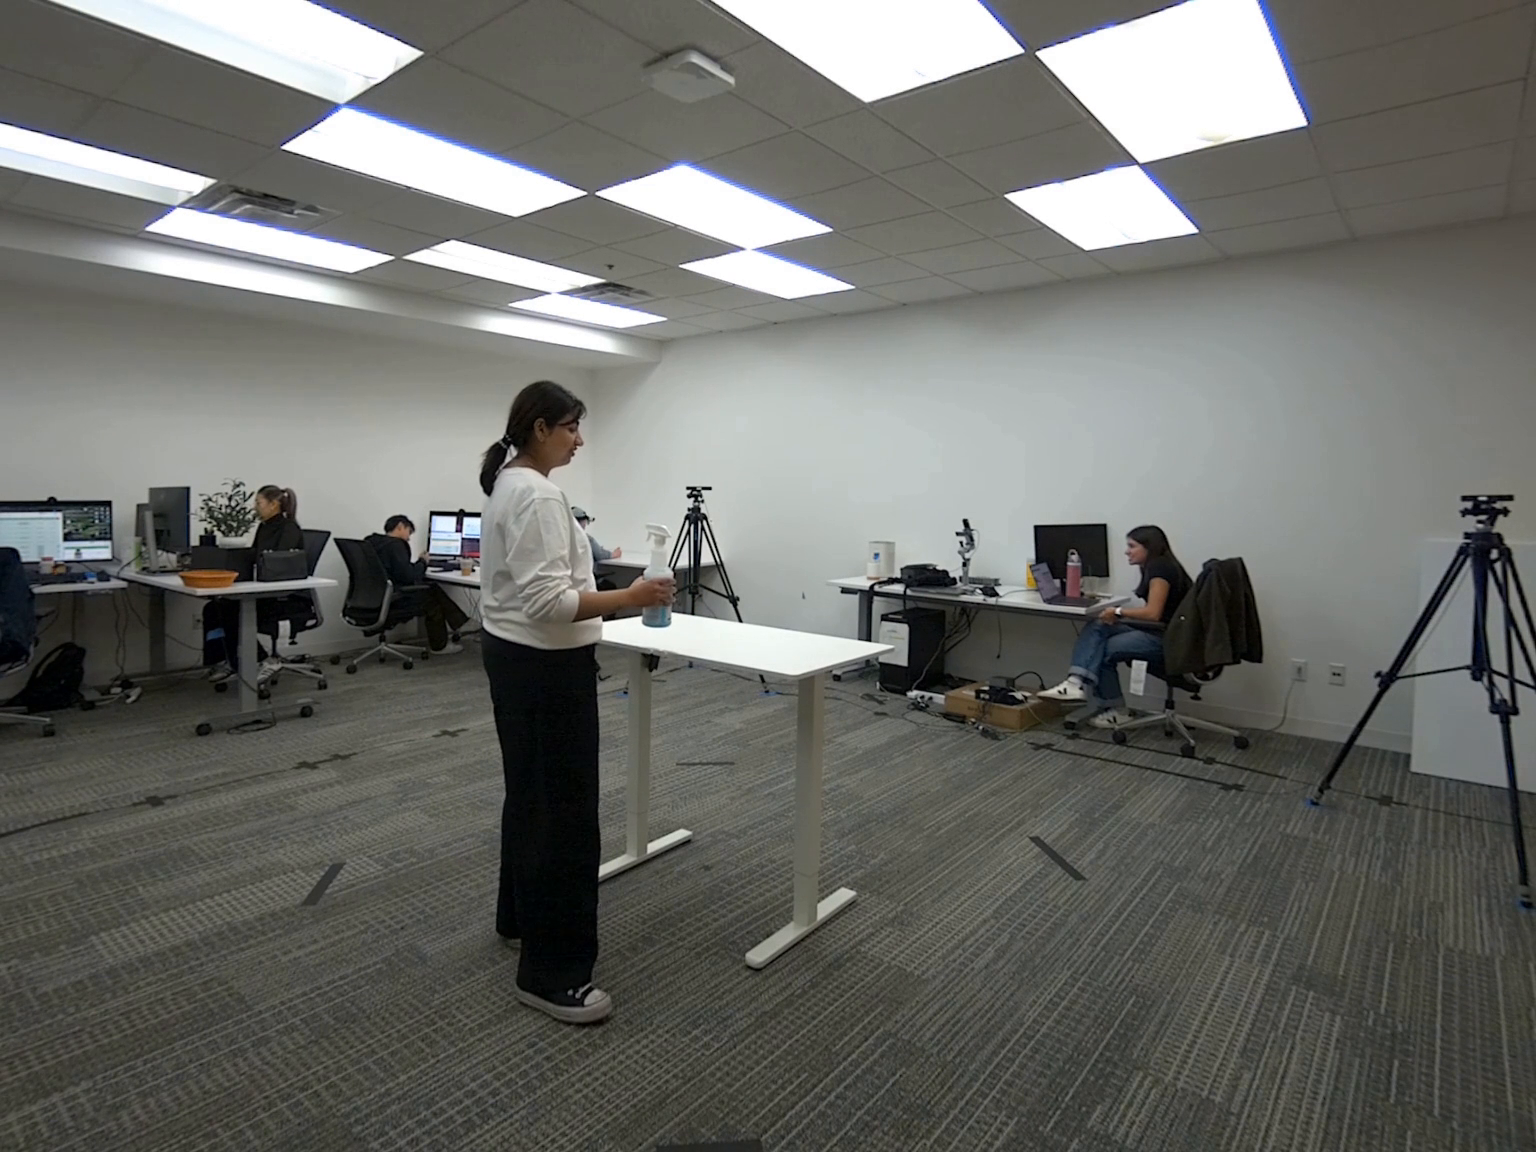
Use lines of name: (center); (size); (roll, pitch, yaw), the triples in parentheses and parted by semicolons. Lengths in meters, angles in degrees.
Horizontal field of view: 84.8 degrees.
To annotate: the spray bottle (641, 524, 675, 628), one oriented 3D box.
spray bottle: (-0.327, 0.005, 2.467); (0.084, 0.296, 0.093); (-4, 7, -37)
